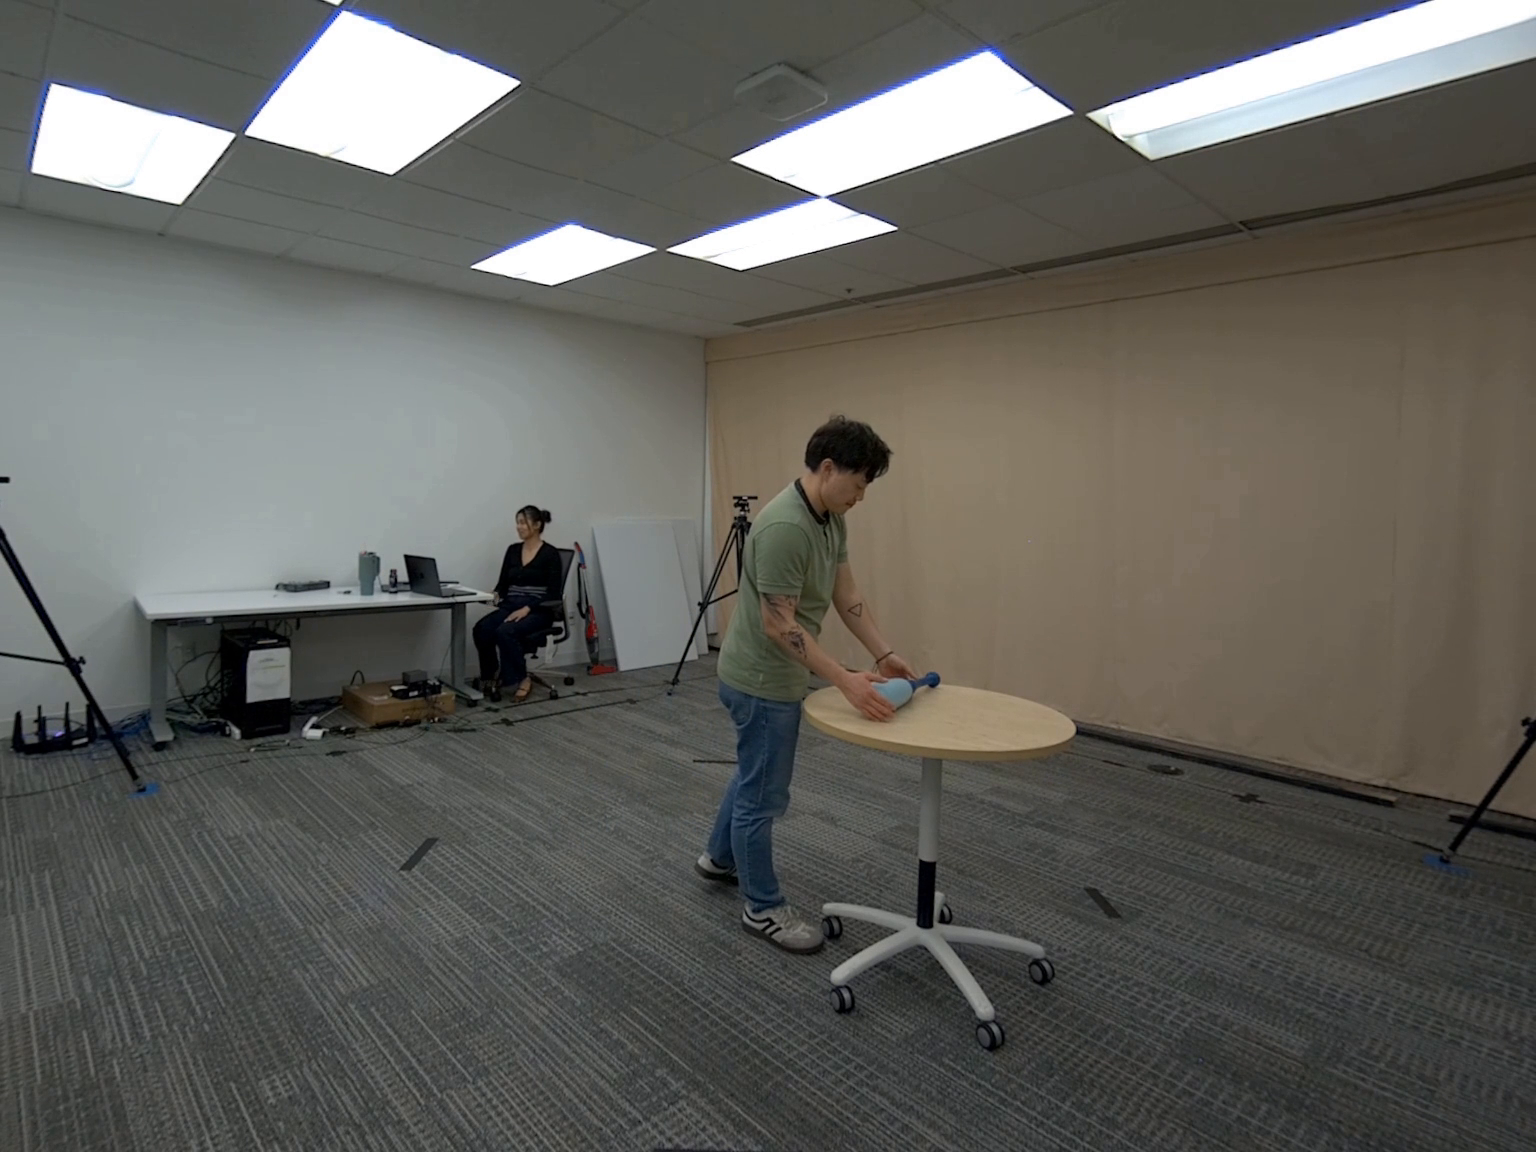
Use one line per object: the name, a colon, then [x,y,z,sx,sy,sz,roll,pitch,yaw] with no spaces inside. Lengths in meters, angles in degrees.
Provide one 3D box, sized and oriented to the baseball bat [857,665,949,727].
baseball bat: [0.416,0.349,2.541,0.091,0.089,0.532,4,3,29]
